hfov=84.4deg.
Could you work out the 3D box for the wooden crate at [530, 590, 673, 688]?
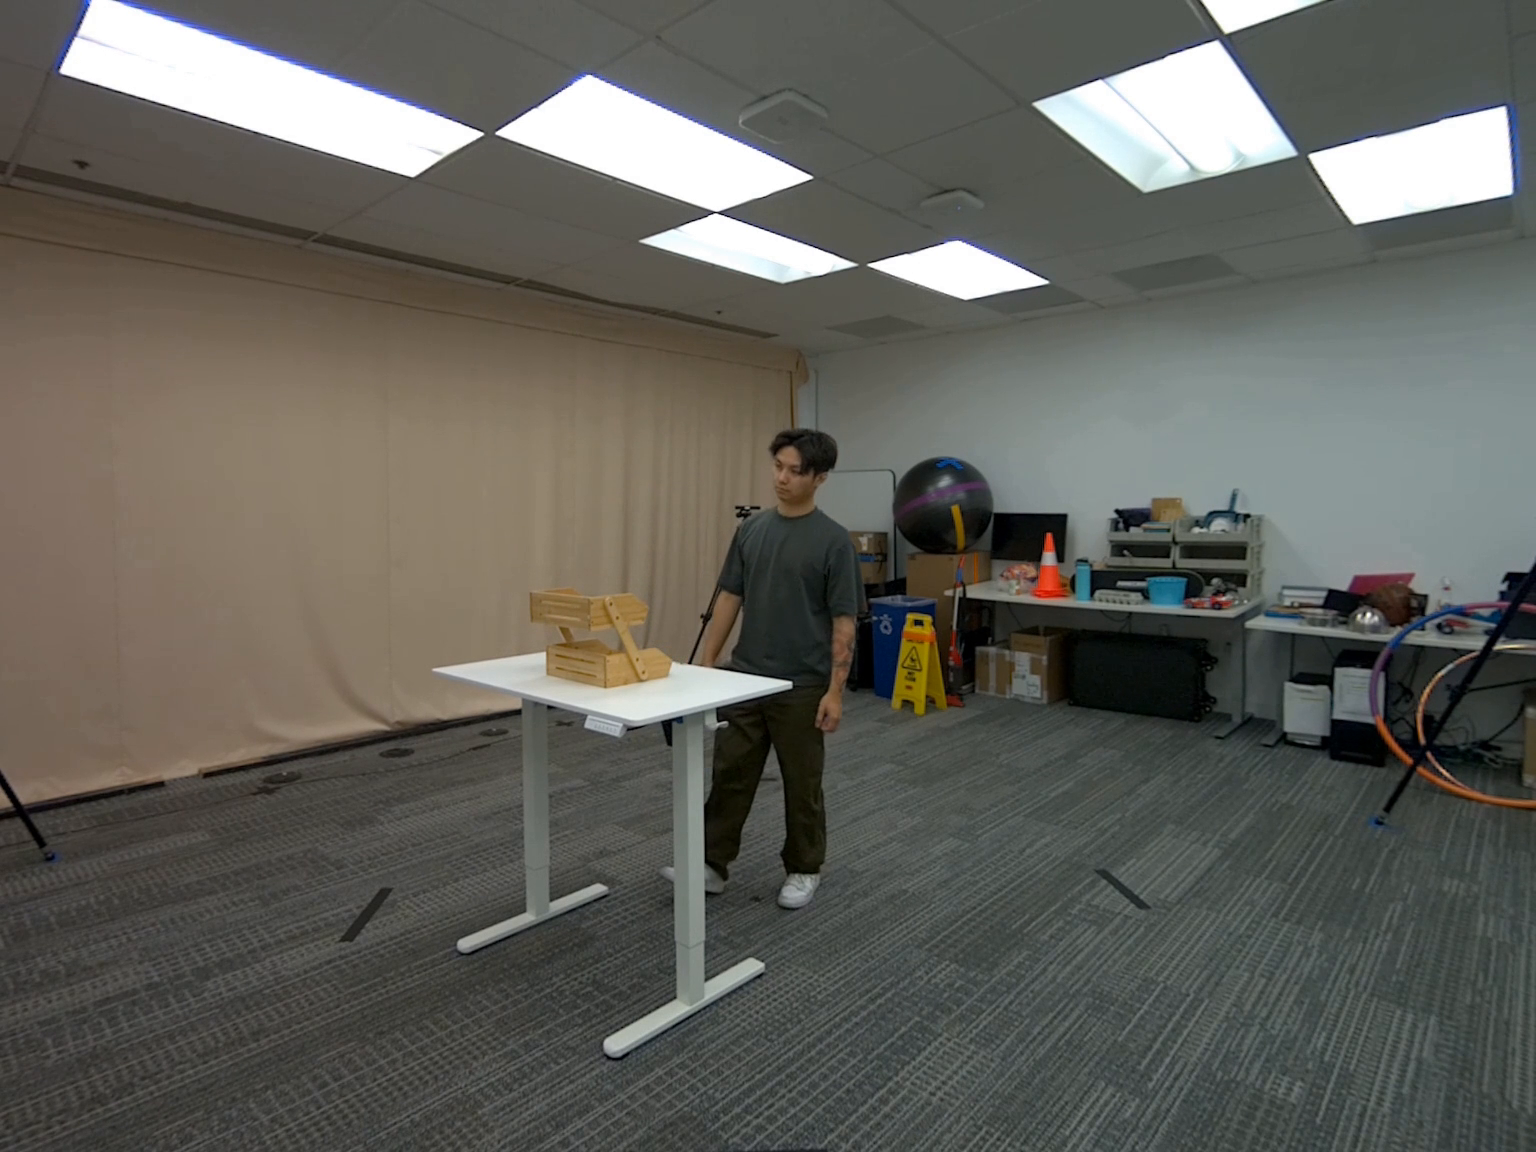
[{"bbox_3d":[-0.499,0.171,2.526,0.335,0.273,0.293,2,5,43],"label":"wooden crate"}]
